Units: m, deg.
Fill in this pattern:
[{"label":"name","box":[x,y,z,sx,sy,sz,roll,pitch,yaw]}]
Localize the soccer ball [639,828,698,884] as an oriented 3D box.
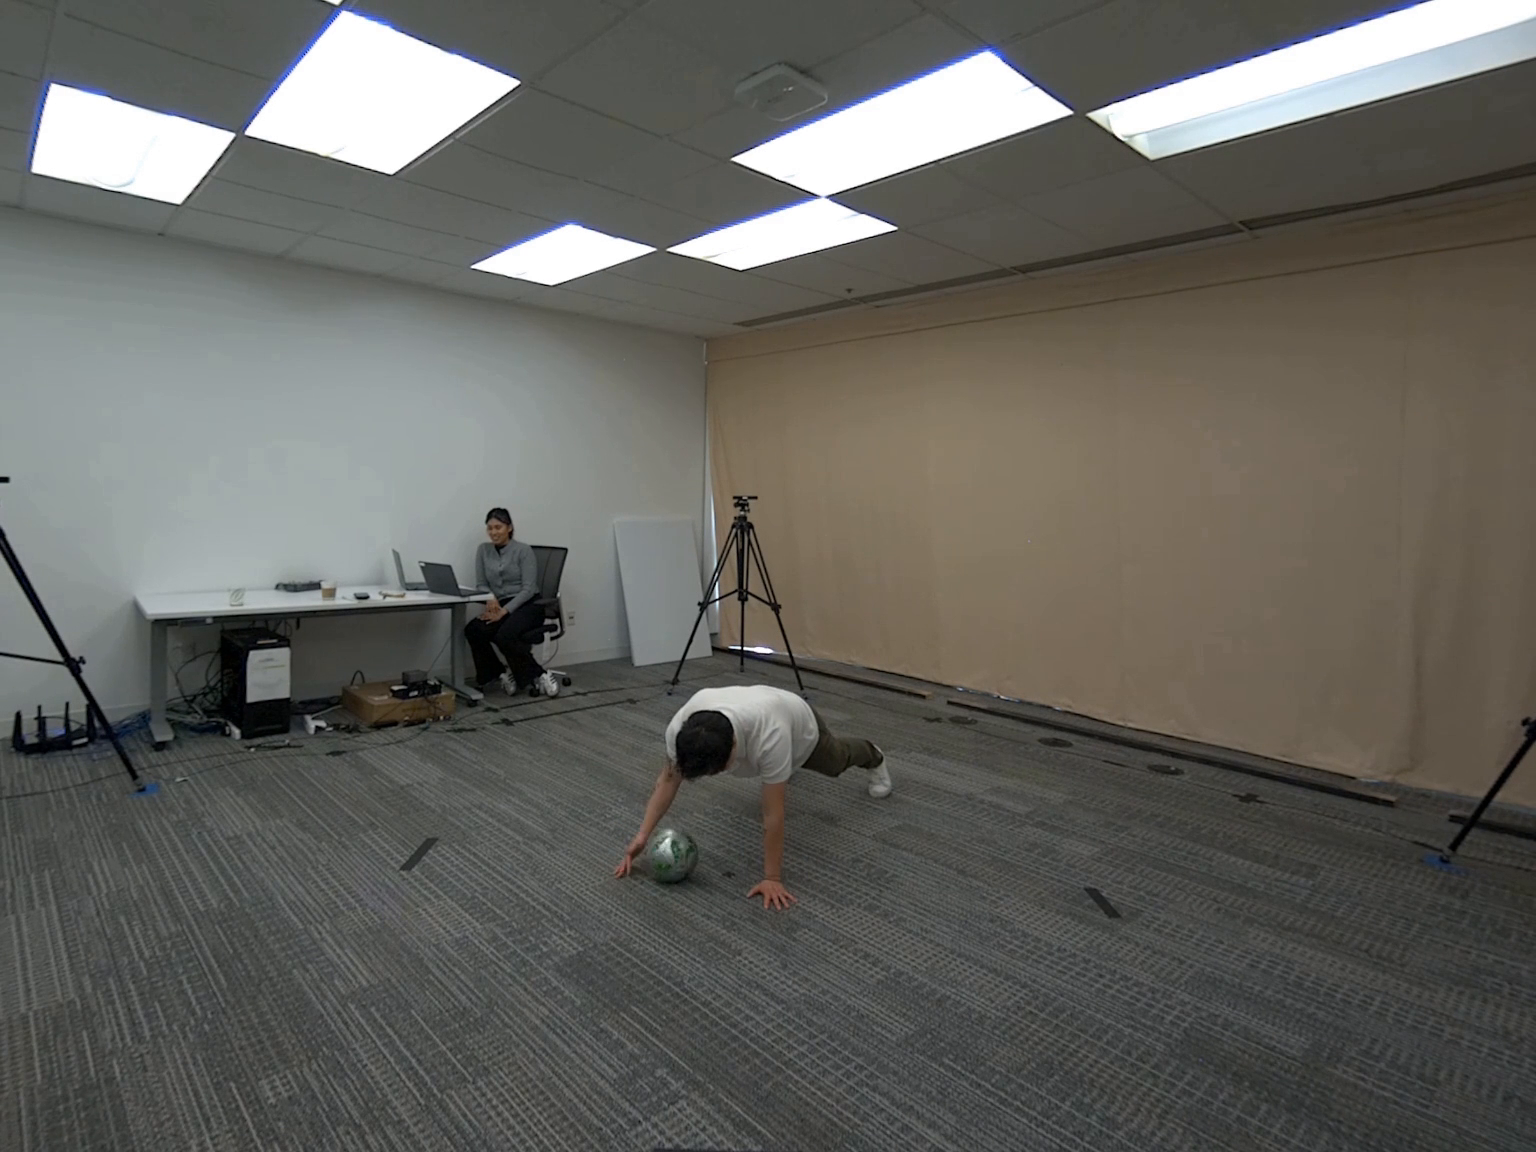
[{"label":"soccer ball","box":[-0.354,1.004,3.043,0.187,0.187,0.188,1,4,-1]}]
